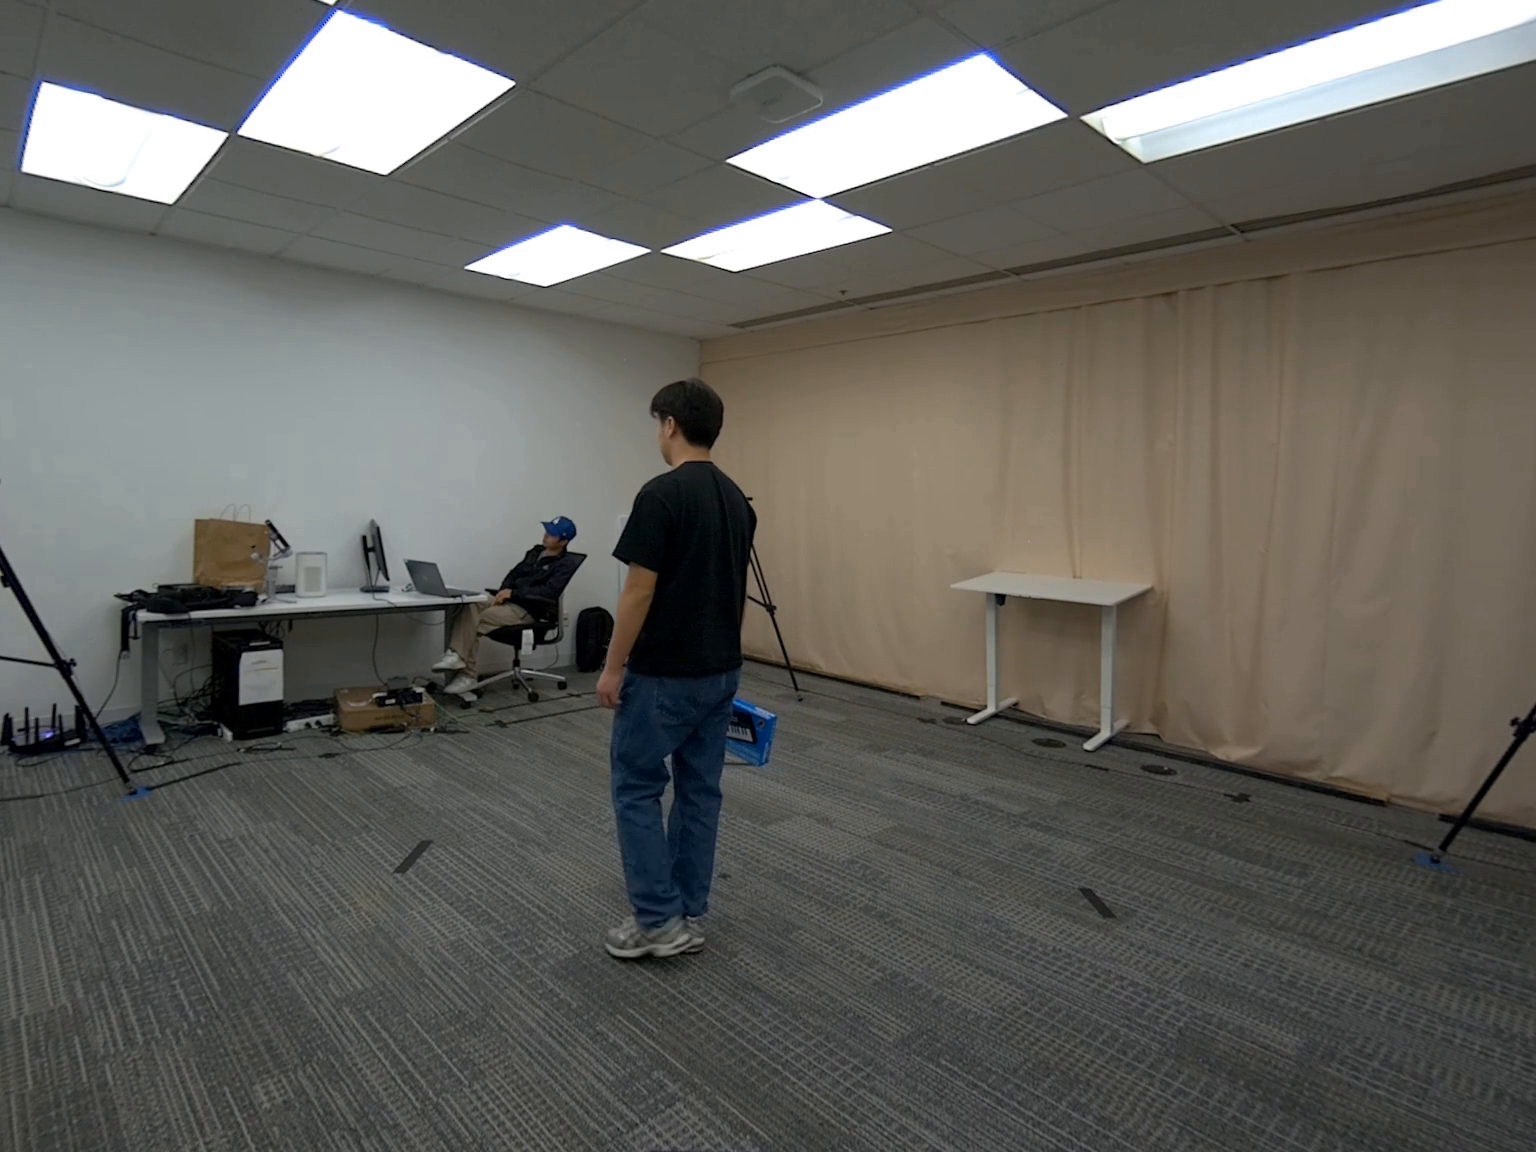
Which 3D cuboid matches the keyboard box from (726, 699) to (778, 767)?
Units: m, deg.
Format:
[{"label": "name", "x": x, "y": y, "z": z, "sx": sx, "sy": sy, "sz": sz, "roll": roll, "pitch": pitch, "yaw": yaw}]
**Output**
[{"label": "keyboard box", "x": -0.176, "y": 0.502, "z": 2.934, "sx": 0.449, "sy": 0.175, "sz": 0.058, "roll": 18, "pitch": 12, "yaw": 33}]
